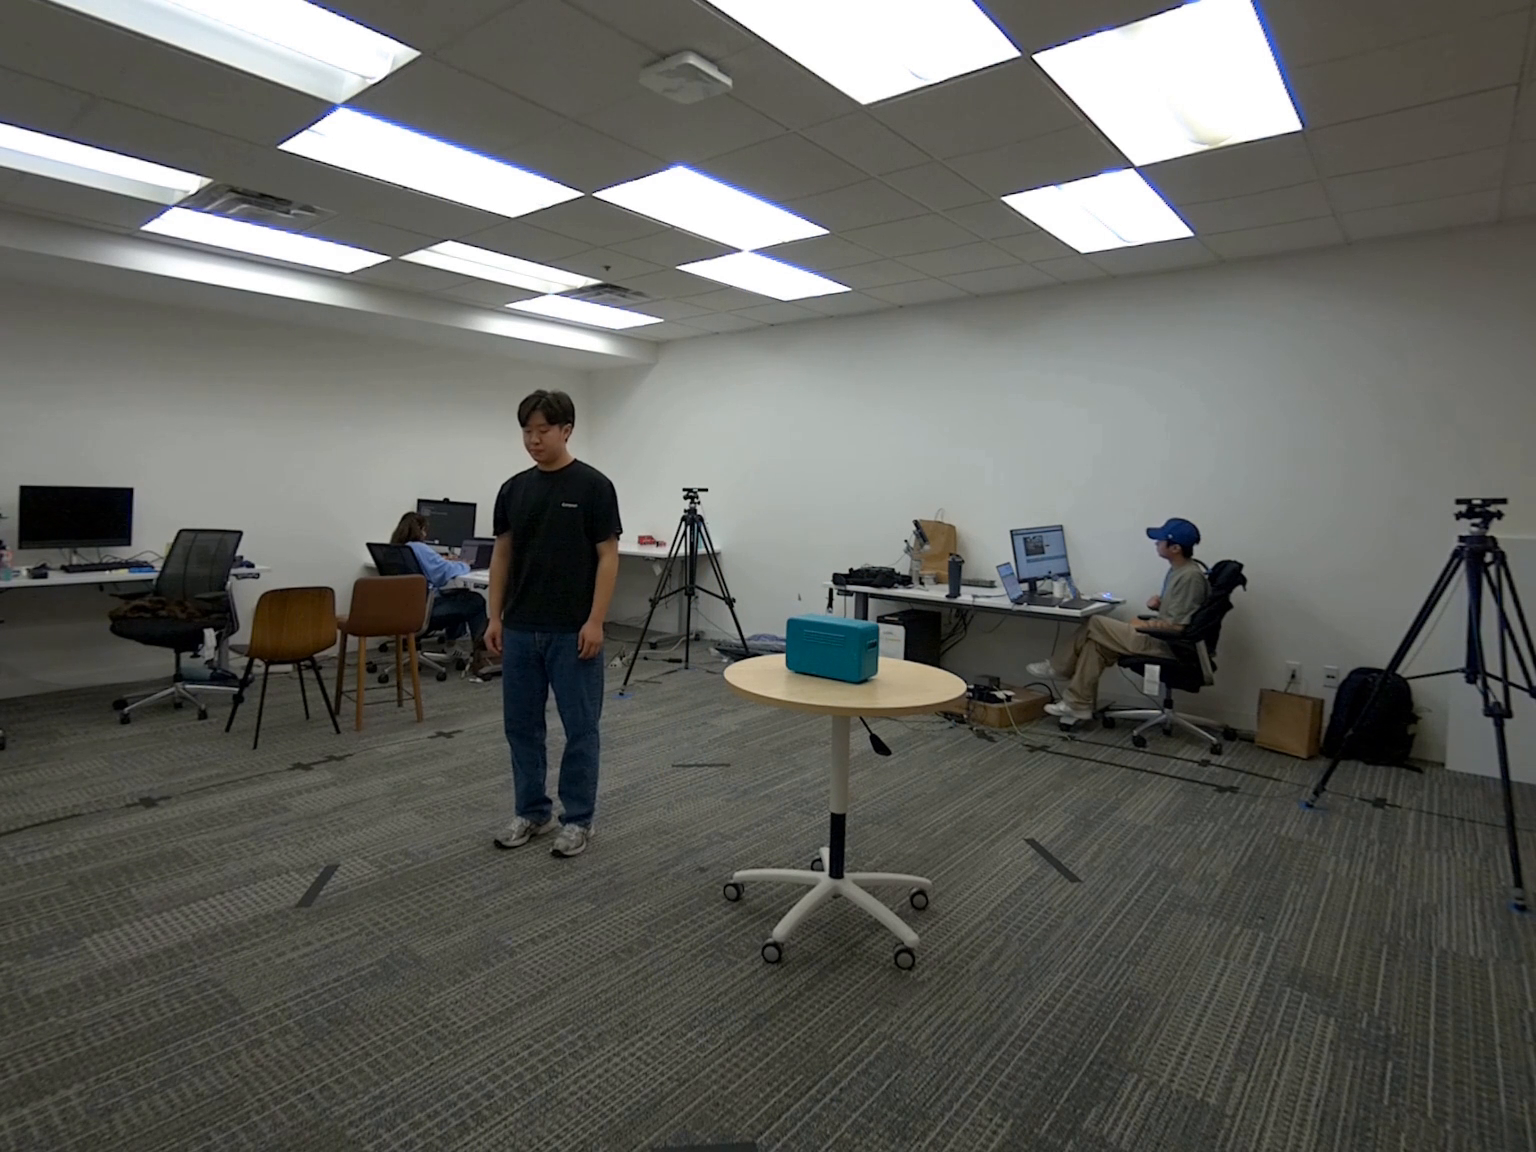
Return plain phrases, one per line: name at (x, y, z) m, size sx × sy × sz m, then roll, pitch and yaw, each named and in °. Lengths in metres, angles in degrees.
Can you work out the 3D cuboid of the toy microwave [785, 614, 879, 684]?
toy microwave at (0.203, 0.226, 2.747) m, size 0.296 × 0.183 × 0.148 m, roll 5°, pitch 6°, yaw 37°
